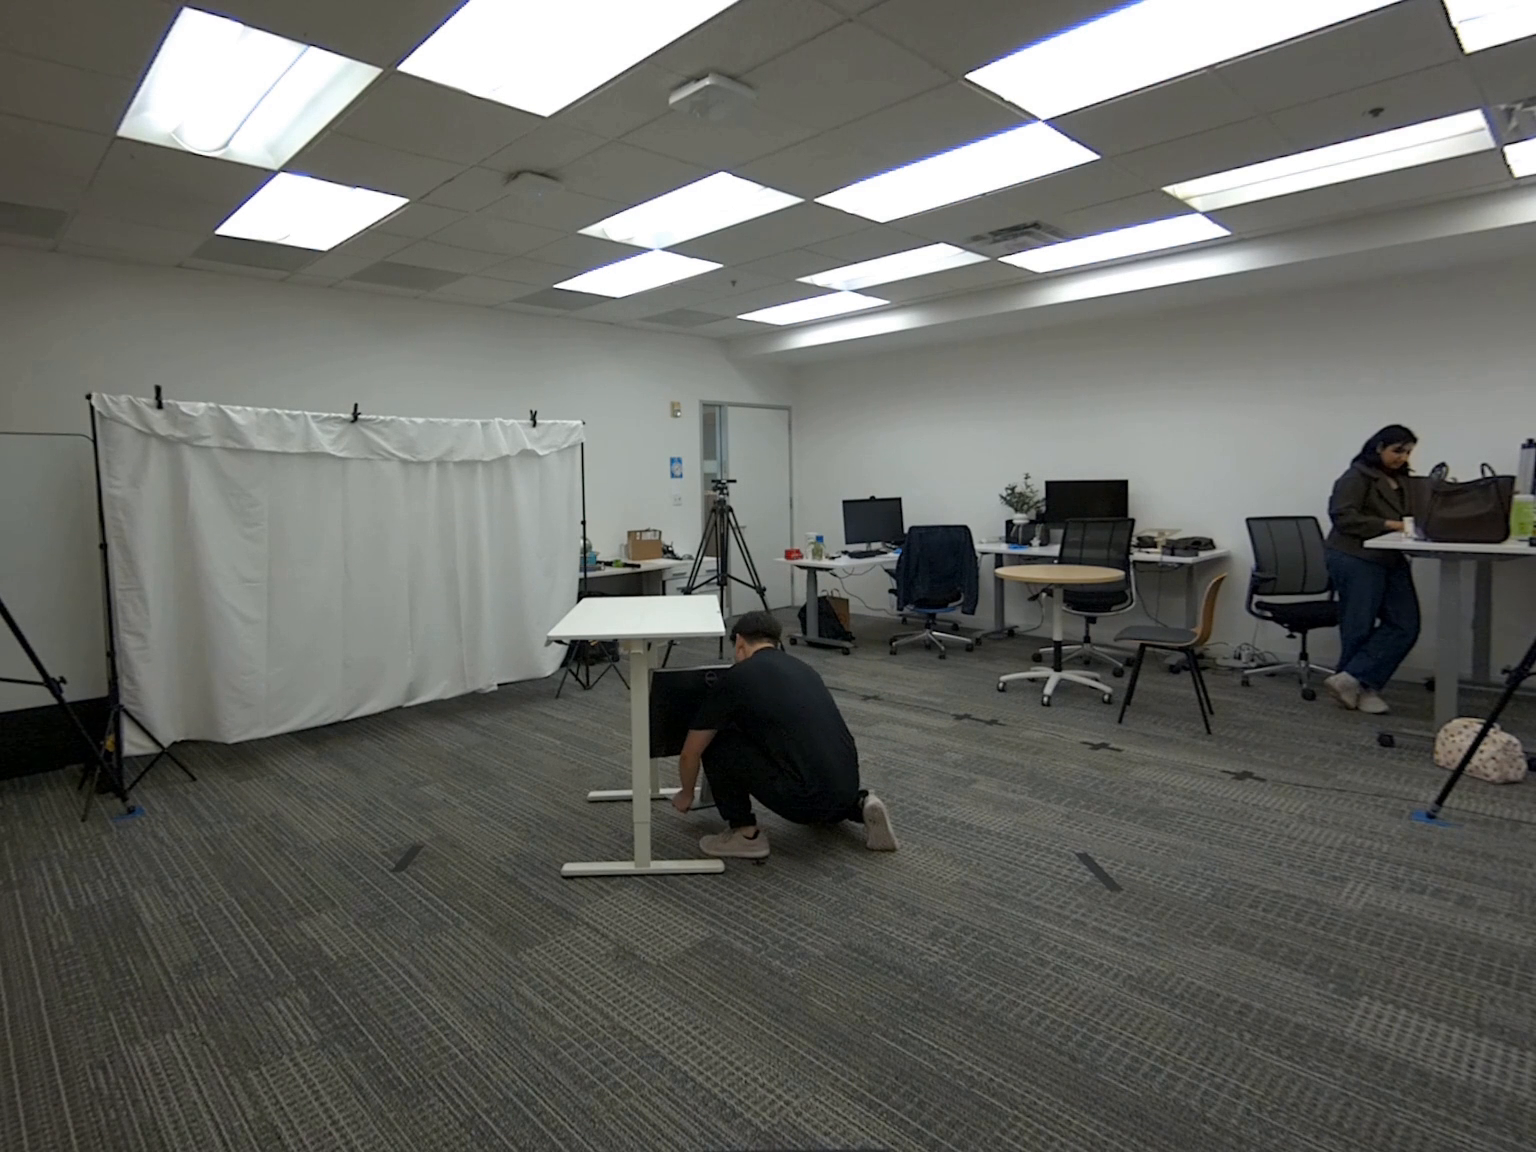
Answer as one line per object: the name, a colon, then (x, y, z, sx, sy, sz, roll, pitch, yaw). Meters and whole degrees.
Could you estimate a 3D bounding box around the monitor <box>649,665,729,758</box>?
monitor: (-0.248, 0.634, 3.465, 0.522, 0.524, 0.192, 4, -3, -42)
